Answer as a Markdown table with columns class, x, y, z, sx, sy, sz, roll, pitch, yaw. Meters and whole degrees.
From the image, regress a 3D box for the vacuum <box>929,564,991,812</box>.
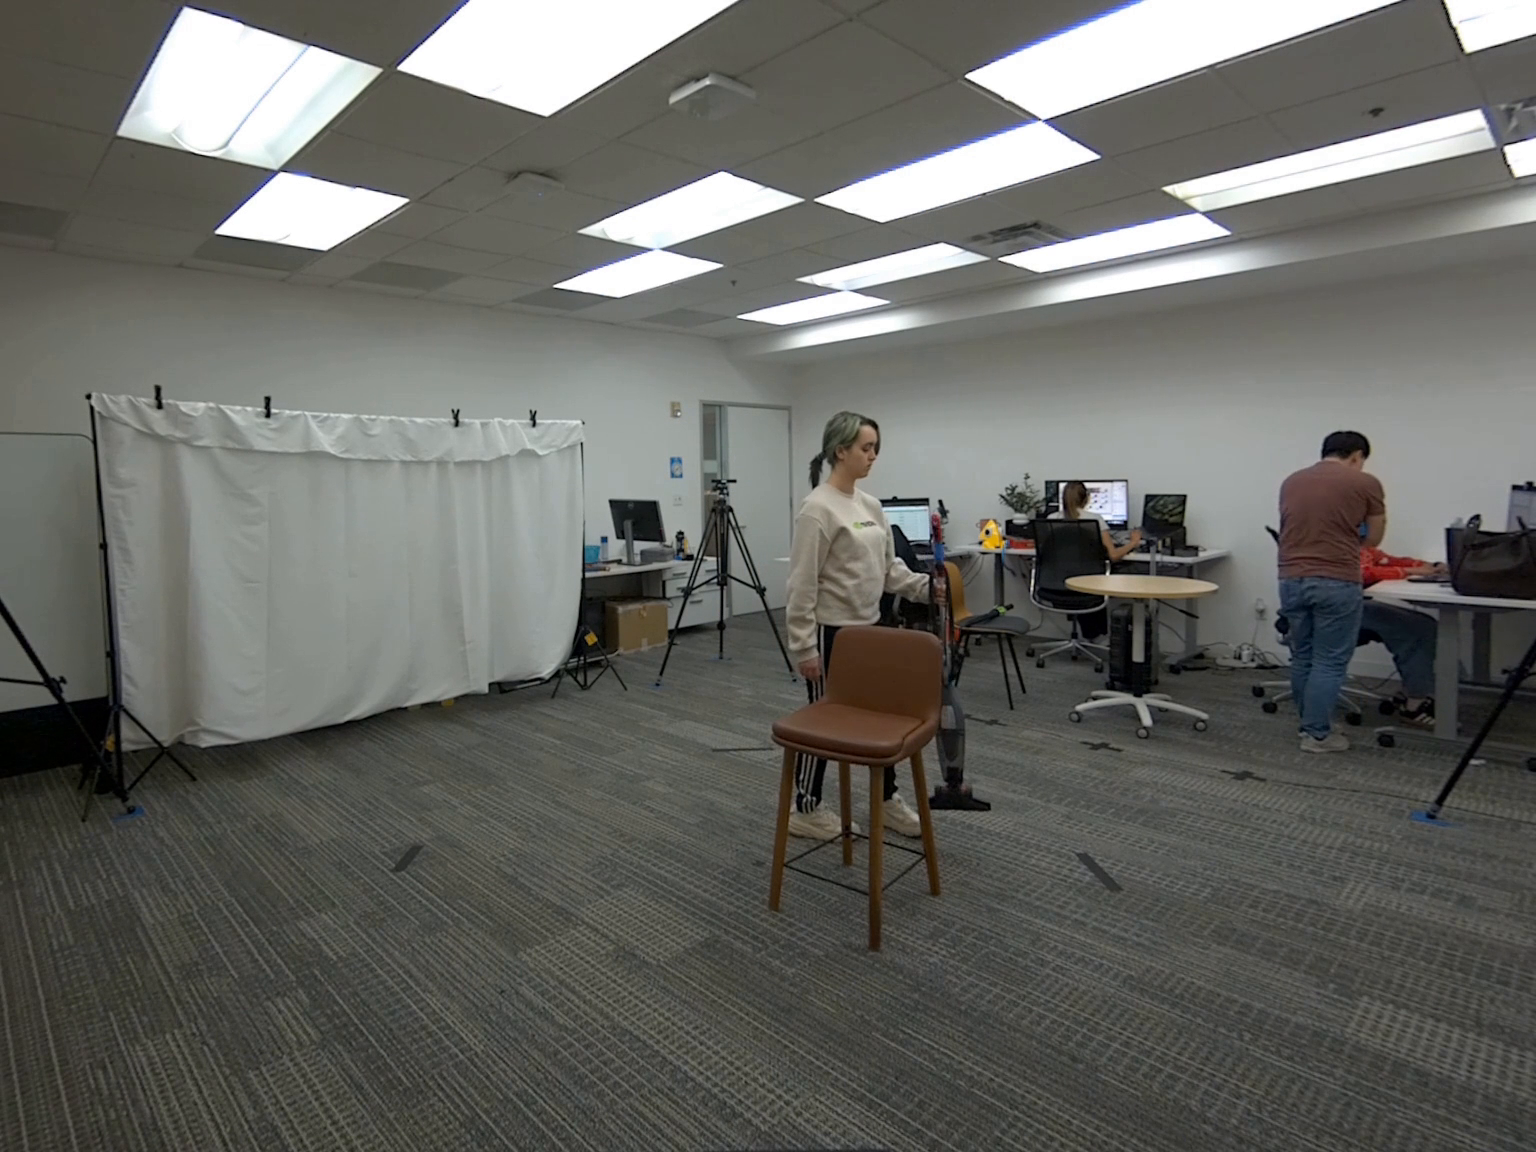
| class | x | y | z | sx | sy | sz | roll | pitch | yaw |
| --- | --- | --- | --- | --- | --- | --- | --- | --- | --- |
| vacuum | 0.674 | 0.312 | 3.175 | 0.256 | 1.050 | 0.142 | -2 | -1 | 12 |
